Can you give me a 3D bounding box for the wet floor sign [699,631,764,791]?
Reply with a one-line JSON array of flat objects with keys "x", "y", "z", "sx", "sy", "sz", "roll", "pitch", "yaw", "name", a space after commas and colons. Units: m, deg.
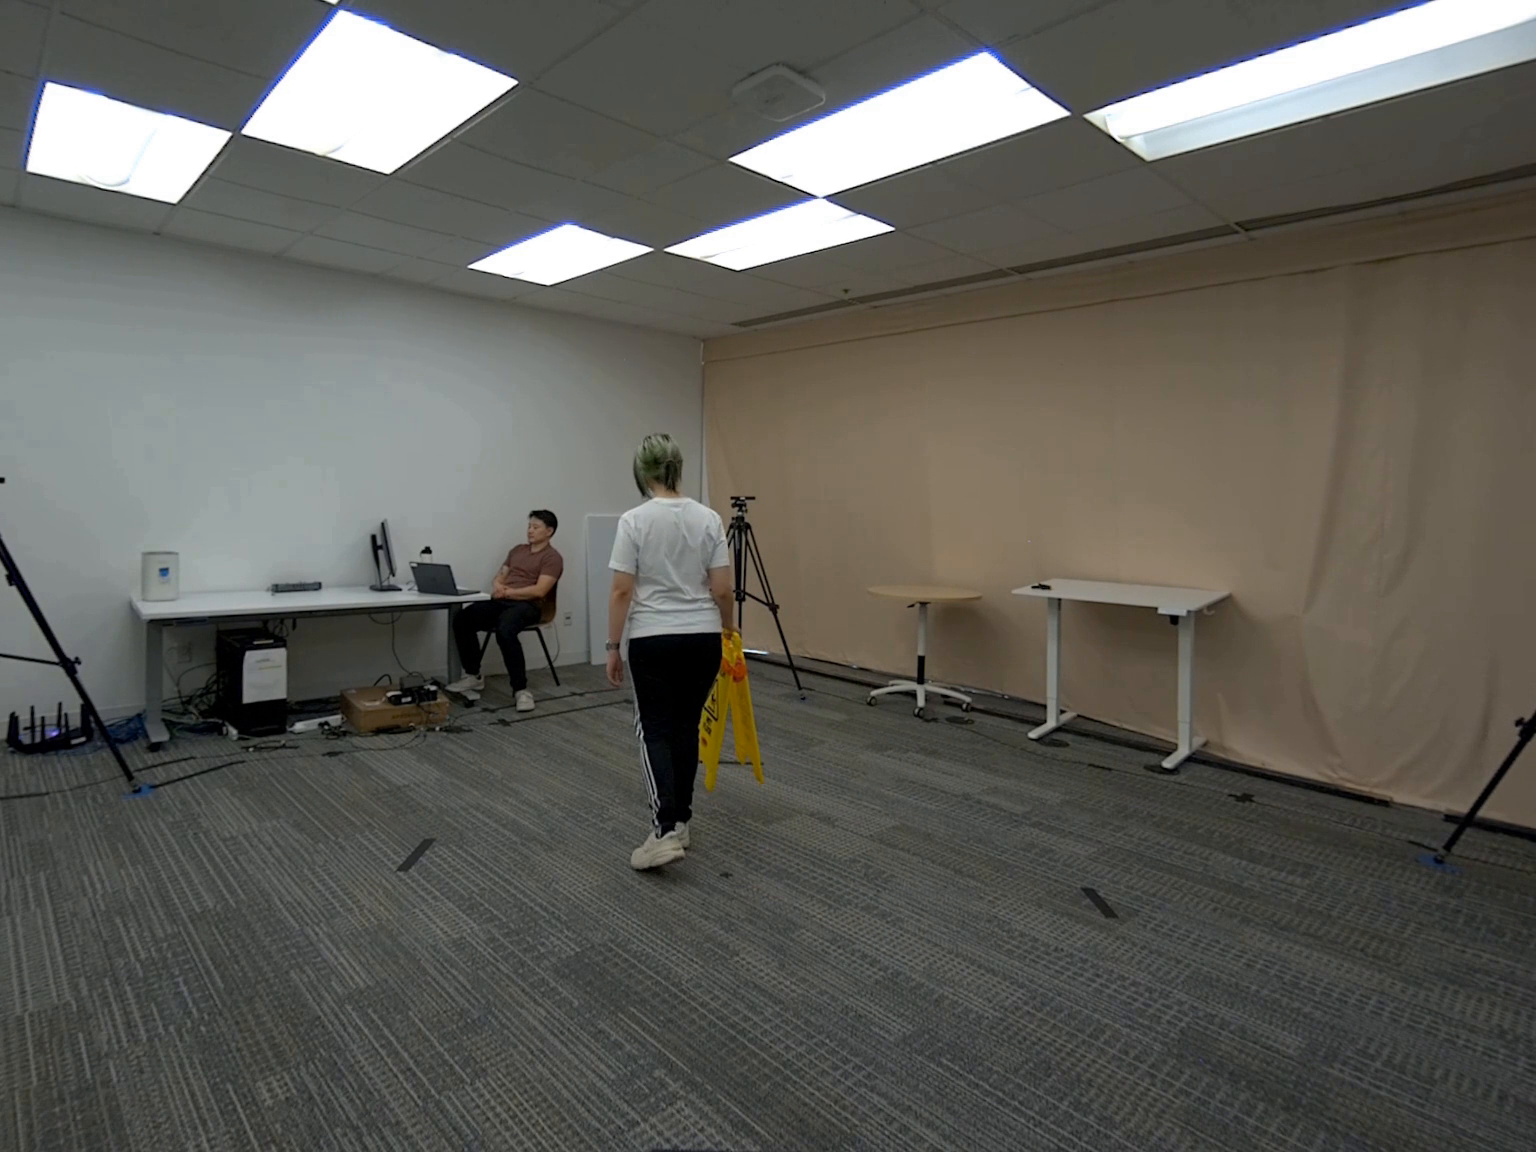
[{"x": -0.177, "y": 0.538, "z": 3.572, "sx": 0.285, "sy": 0.641, "sz": 0.289, "roll": -1, "pitch": 12, "yaw": -24, "name": "wet floor sign"}]
